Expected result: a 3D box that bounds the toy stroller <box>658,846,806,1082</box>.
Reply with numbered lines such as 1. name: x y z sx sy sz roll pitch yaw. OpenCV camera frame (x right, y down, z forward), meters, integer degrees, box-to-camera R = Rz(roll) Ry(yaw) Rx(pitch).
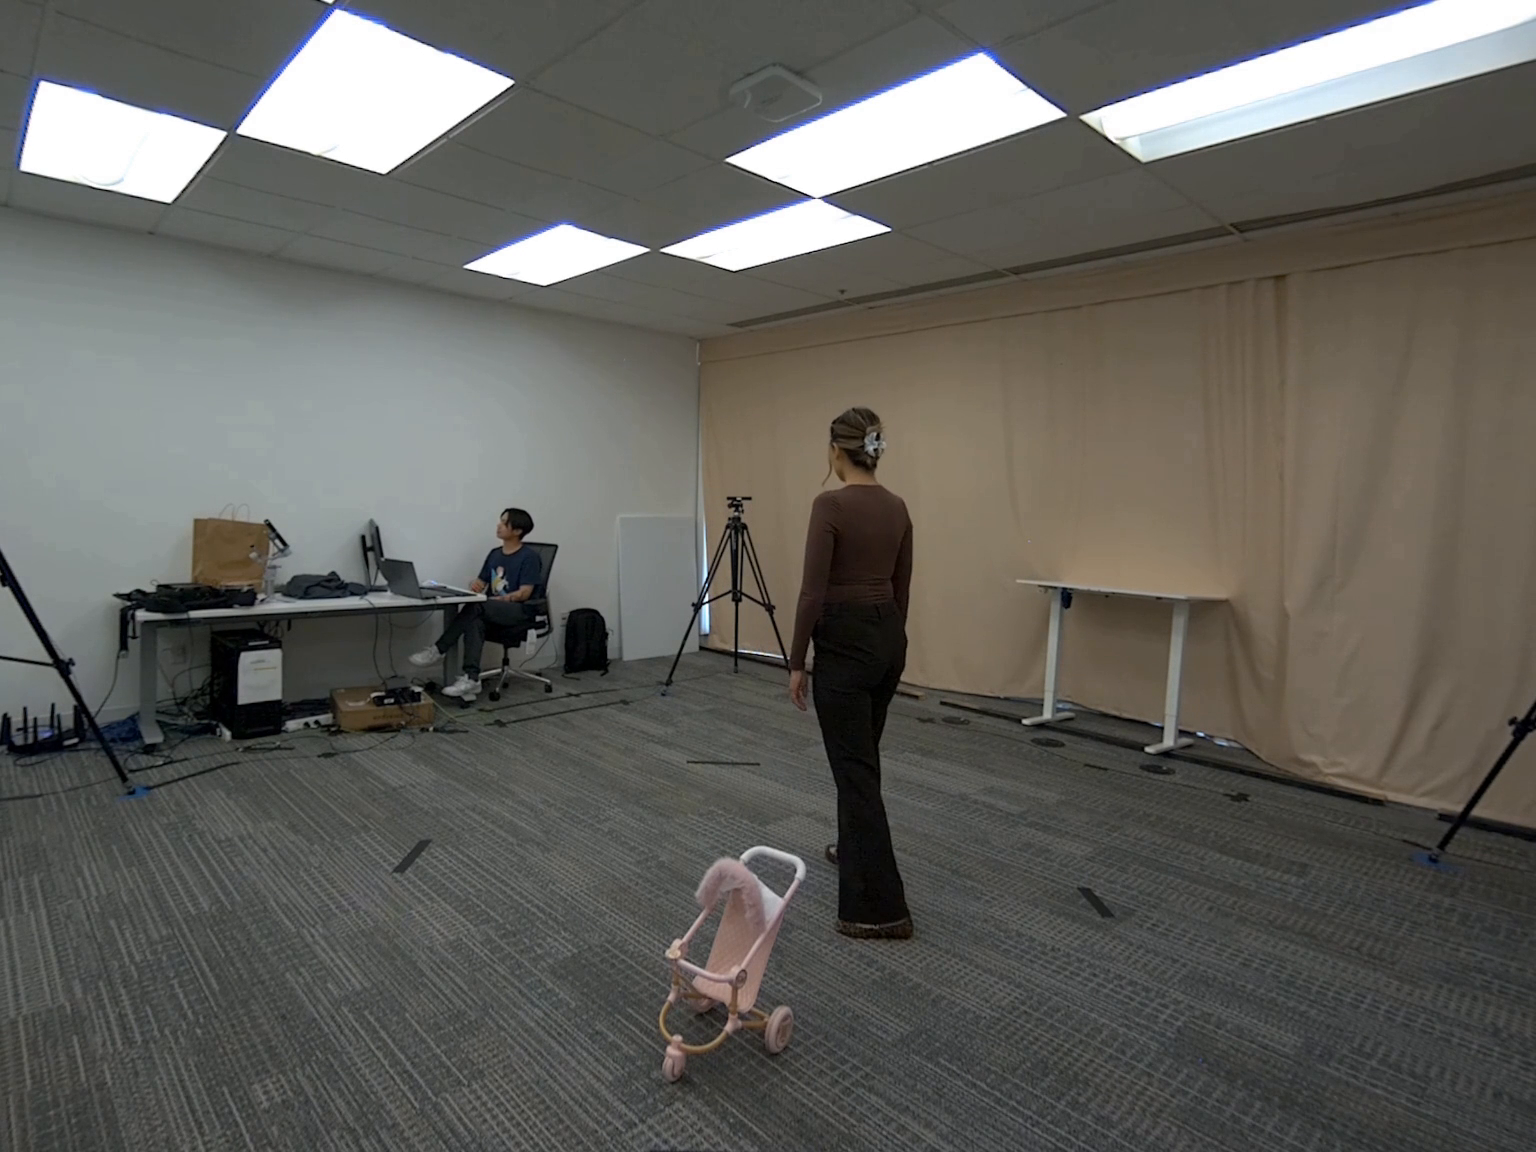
1. toy stroller: -0.111 0.975 2.143 0.288 0.538 0.331 4 -13 42
